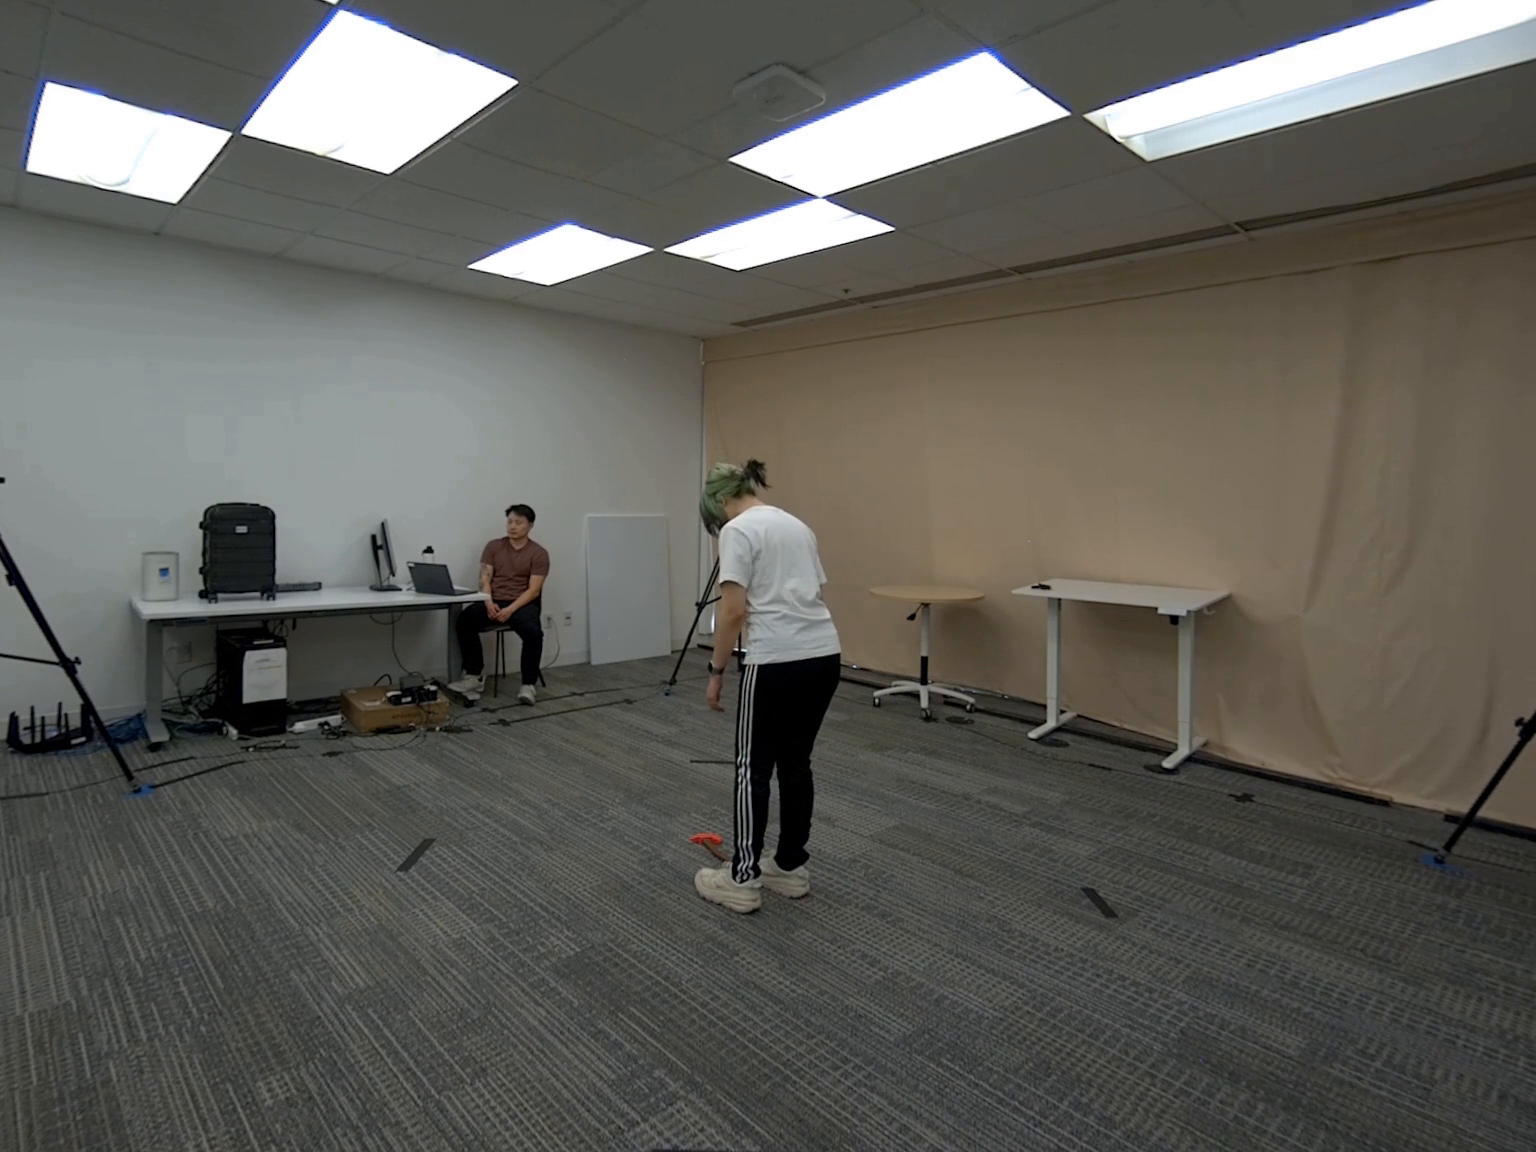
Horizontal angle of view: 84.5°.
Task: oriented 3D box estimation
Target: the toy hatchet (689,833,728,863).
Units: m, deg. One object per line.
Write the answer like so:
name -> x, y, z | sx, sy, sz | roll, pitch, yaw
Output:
toy hatchet -> -0.193, 1.075, 3.323 | 0.128, 0.029, 0.277 | 0, 7, -40
